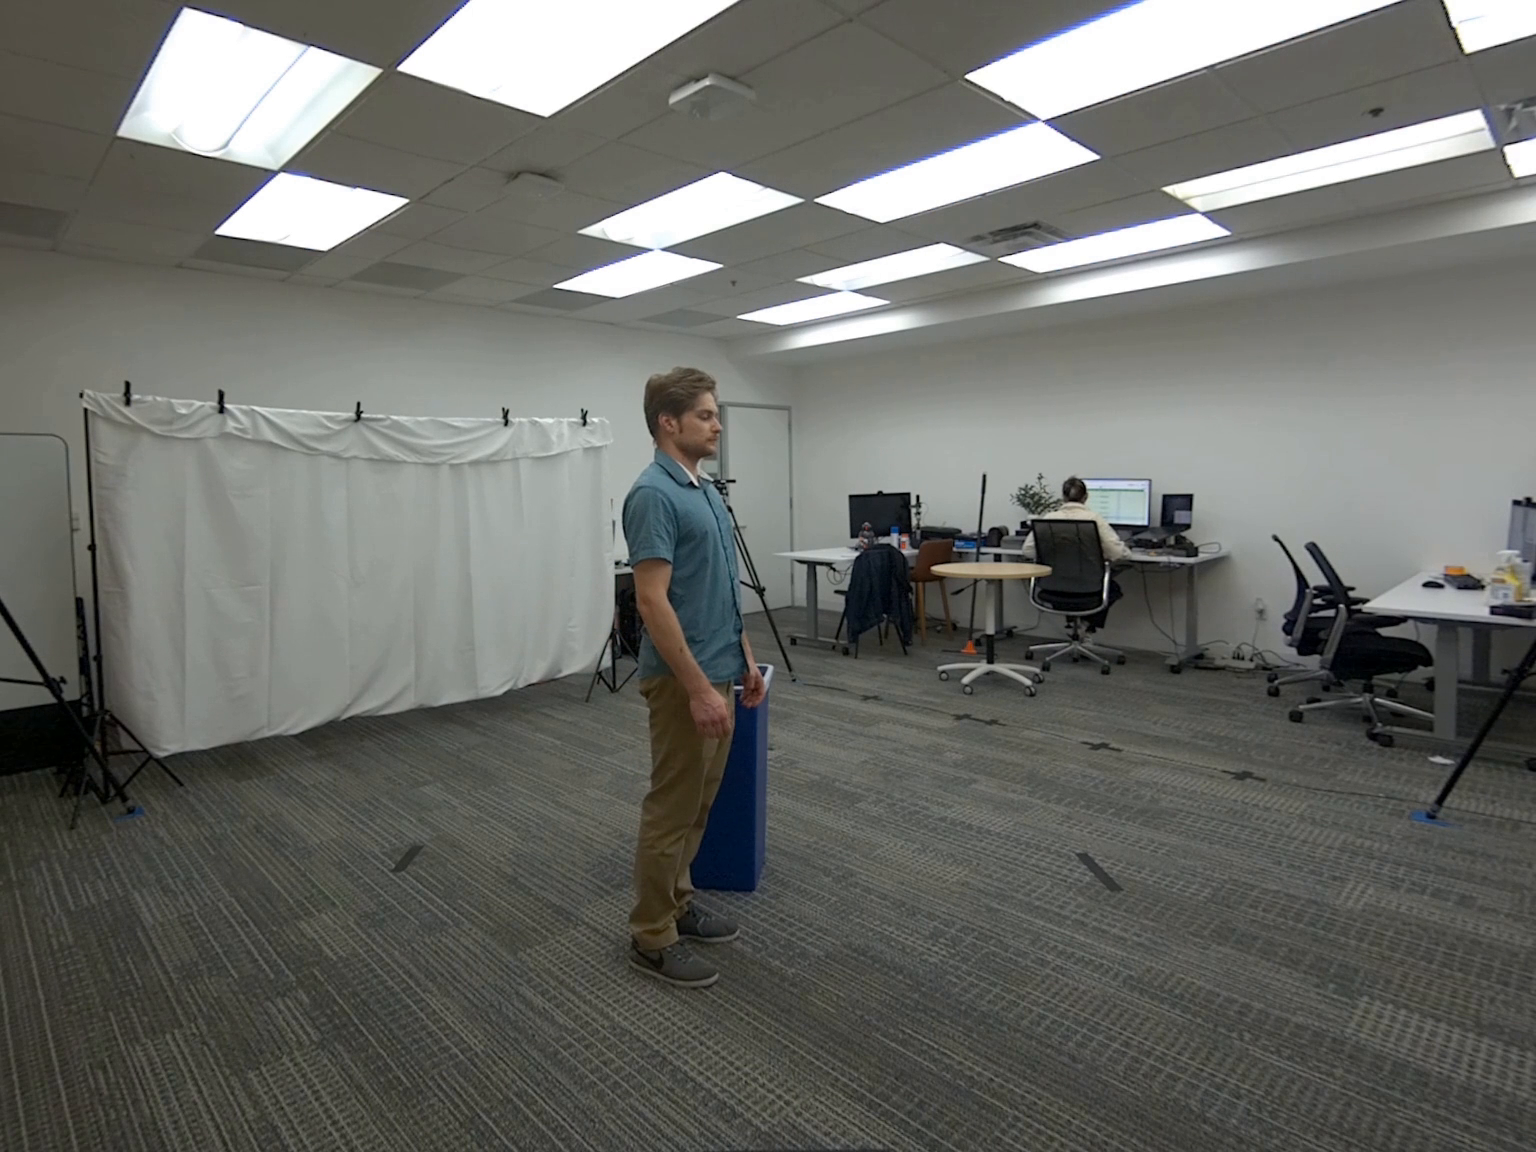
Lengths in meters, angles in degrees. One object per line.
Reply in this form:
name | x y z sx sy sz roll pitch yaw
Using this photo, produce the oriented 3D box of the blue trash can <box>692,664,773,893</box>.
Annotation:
blue trash can | -0.167 0.700 3.033 0.381 0.711 0.372 0 4 8
